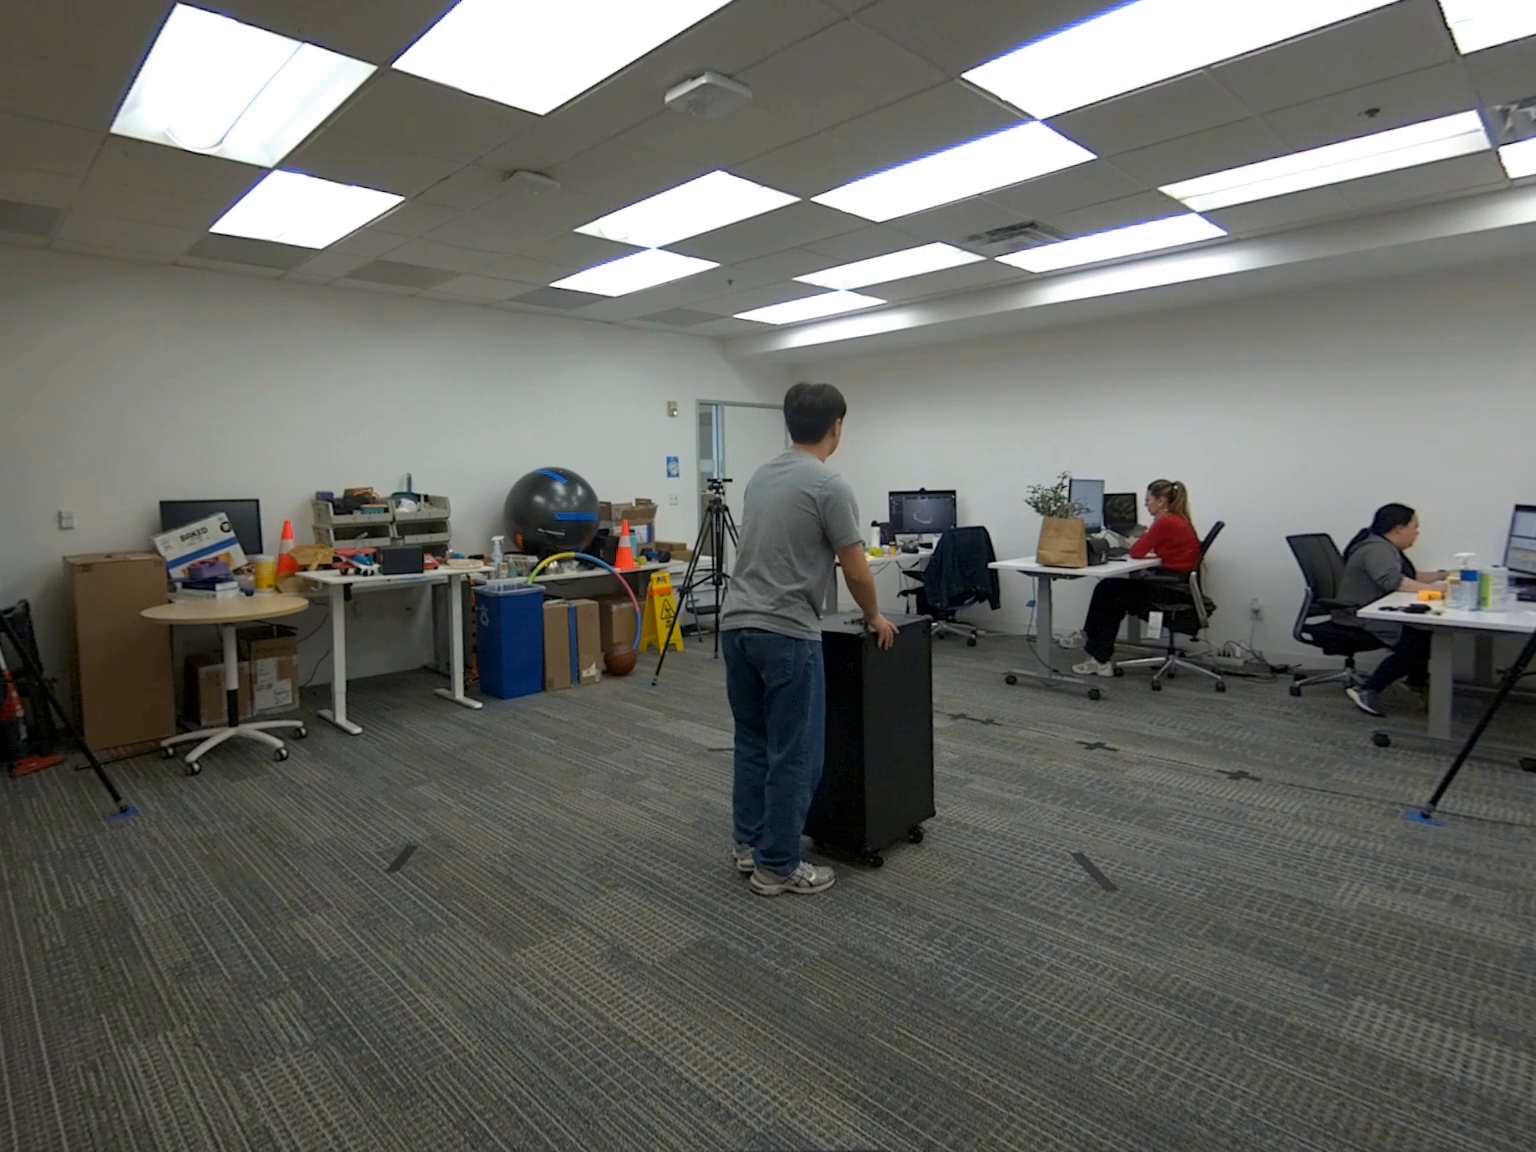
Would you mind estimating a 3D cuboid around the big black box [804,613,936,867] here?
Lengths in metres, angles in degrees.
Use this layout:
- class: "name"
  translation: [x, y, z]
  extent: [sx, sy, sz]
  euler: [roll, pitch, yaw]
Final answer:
- class: "big black box"
  translation: [0.351, 0.599, 3.269]
  extent: [0.408, 0.859, 0.507]
  euler: [1, 4, 42]
